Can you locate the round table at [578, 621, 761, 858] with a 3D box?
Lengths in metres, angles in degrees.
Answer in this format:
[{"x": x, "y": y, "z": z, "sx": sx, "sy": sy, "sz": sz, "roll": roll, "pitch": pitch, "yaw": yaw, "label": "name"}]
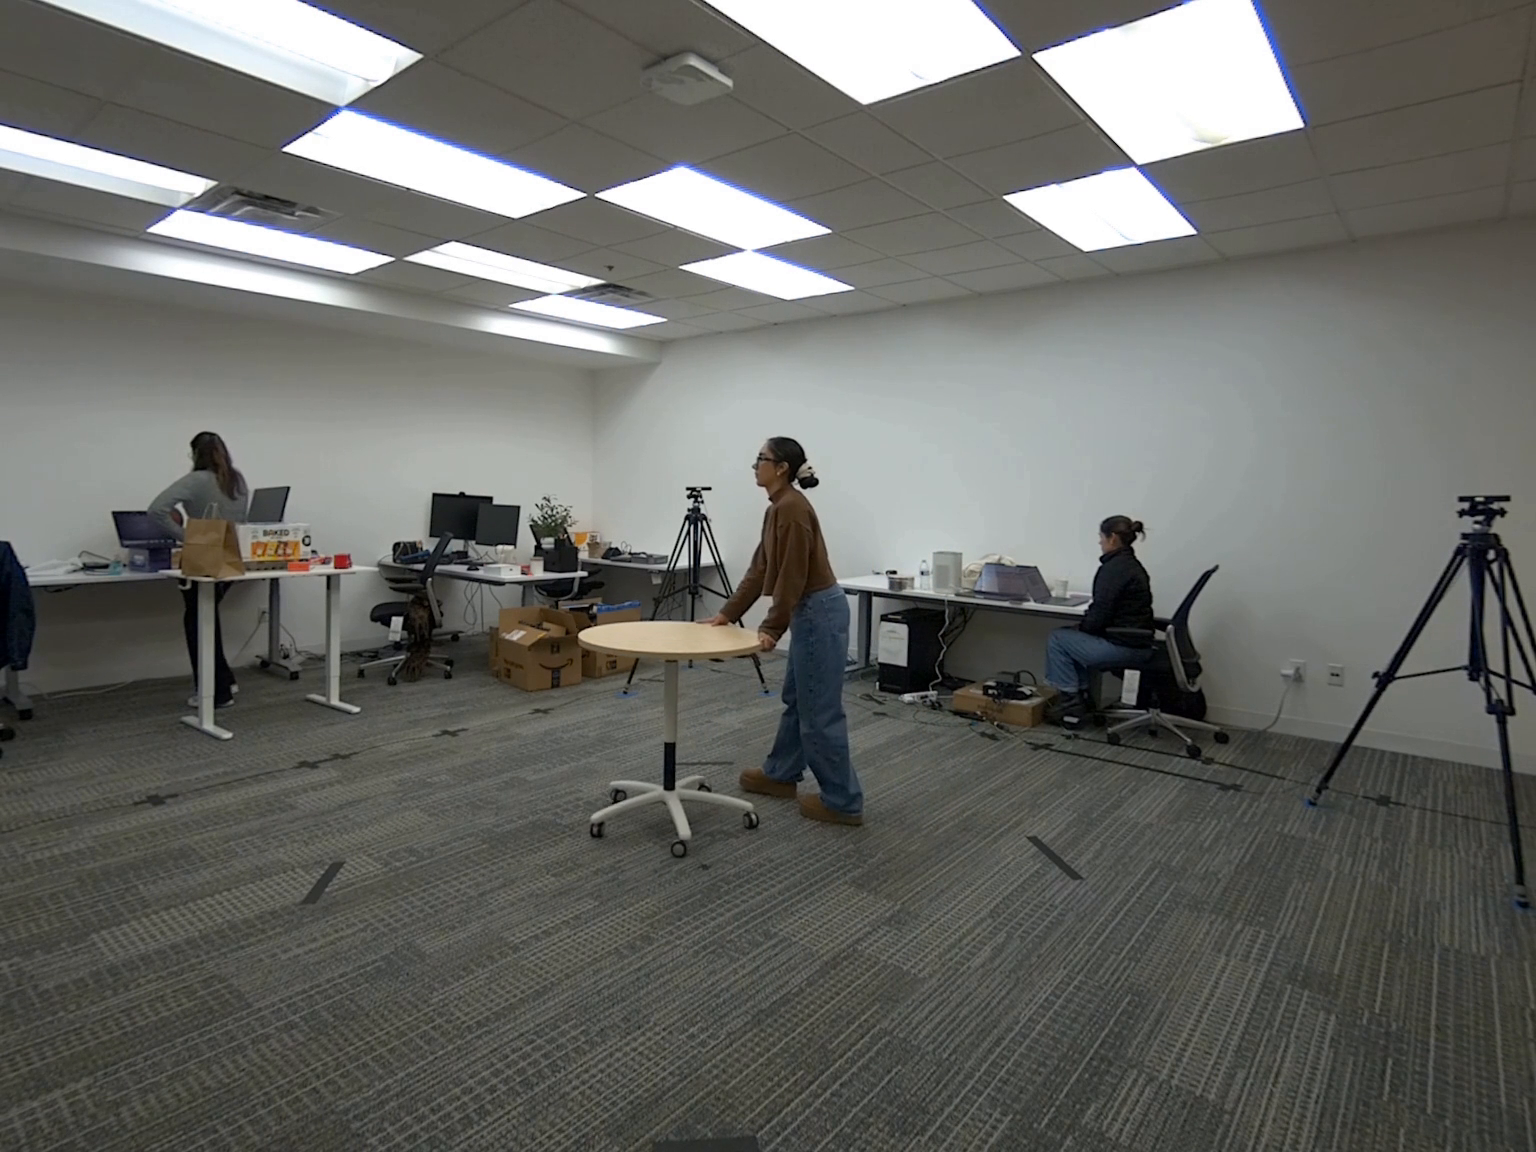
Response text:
[{"x": -0.402, "y": 0.629, "z": 3.524, "sx": 0.784, "sy": 0.784, "sz": 0.789, "roll": 2, "pitch": 4, "yaw": -2, "label": "round table"}]
